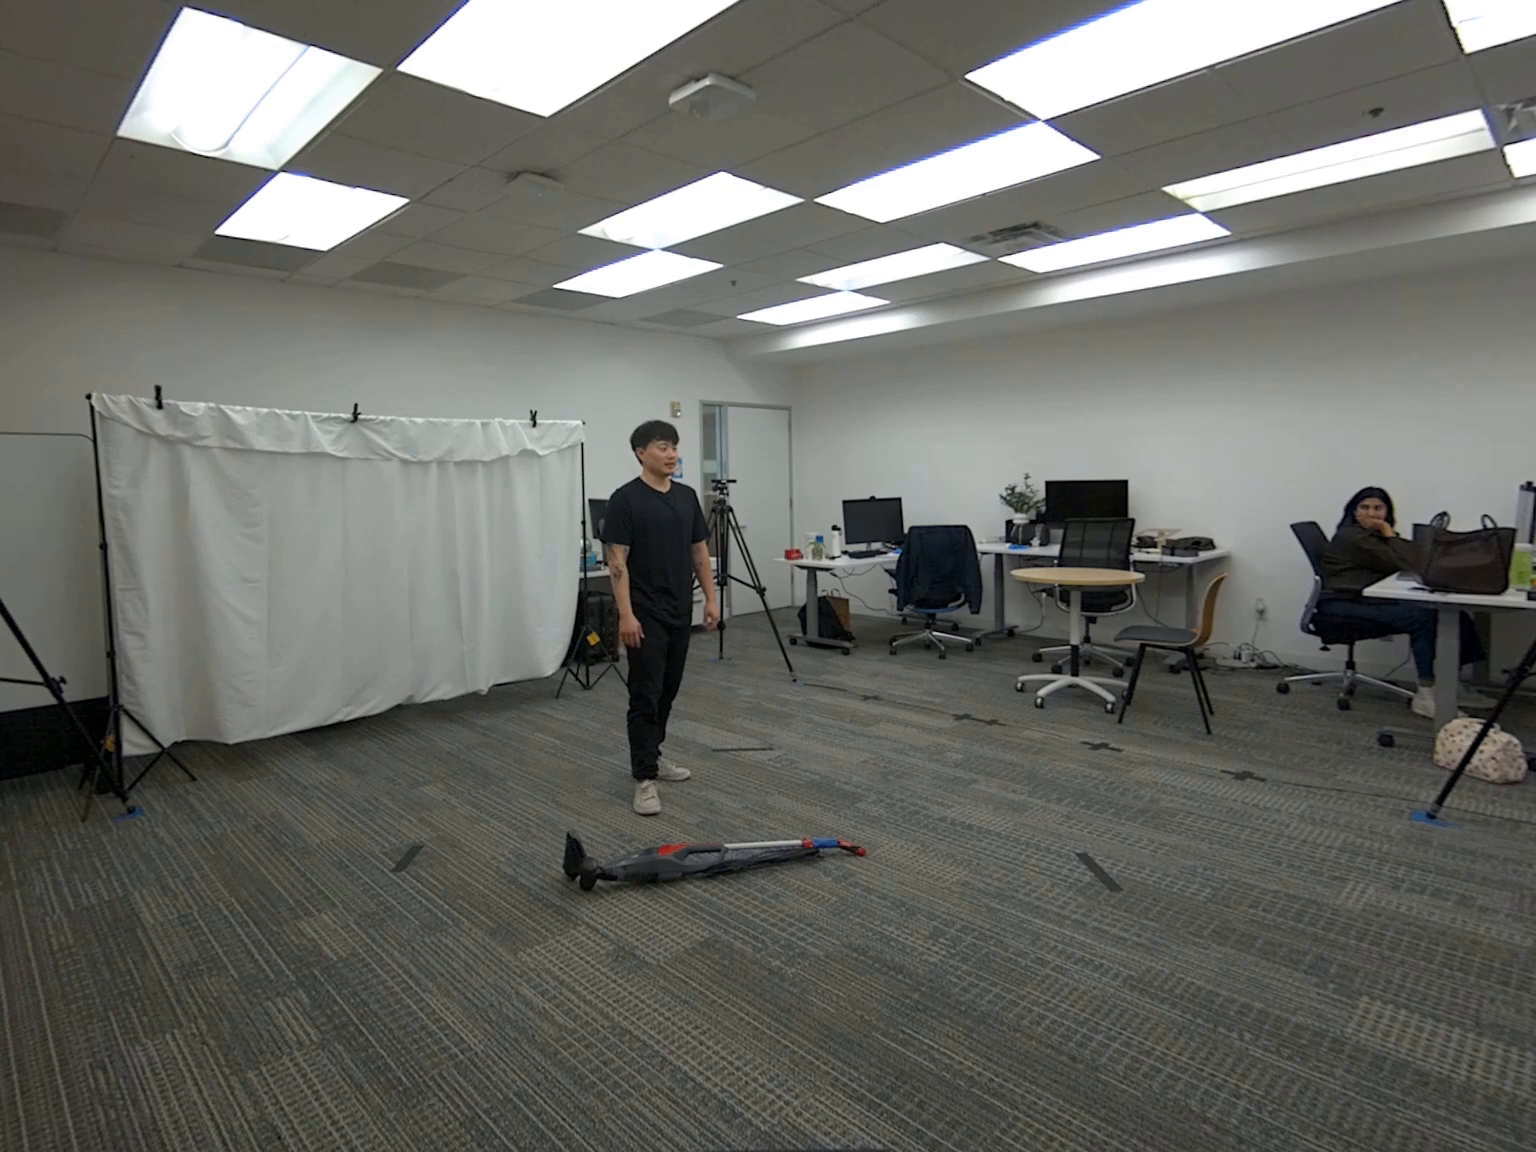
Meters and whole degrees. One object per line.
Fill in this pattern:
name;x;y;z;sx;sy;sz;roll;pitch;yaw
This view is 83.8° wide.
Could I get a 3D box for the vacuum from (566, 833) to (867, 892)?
vacuum;-0.148;1.005;3.047;1.036;0.247;0.148;3;40;-12
